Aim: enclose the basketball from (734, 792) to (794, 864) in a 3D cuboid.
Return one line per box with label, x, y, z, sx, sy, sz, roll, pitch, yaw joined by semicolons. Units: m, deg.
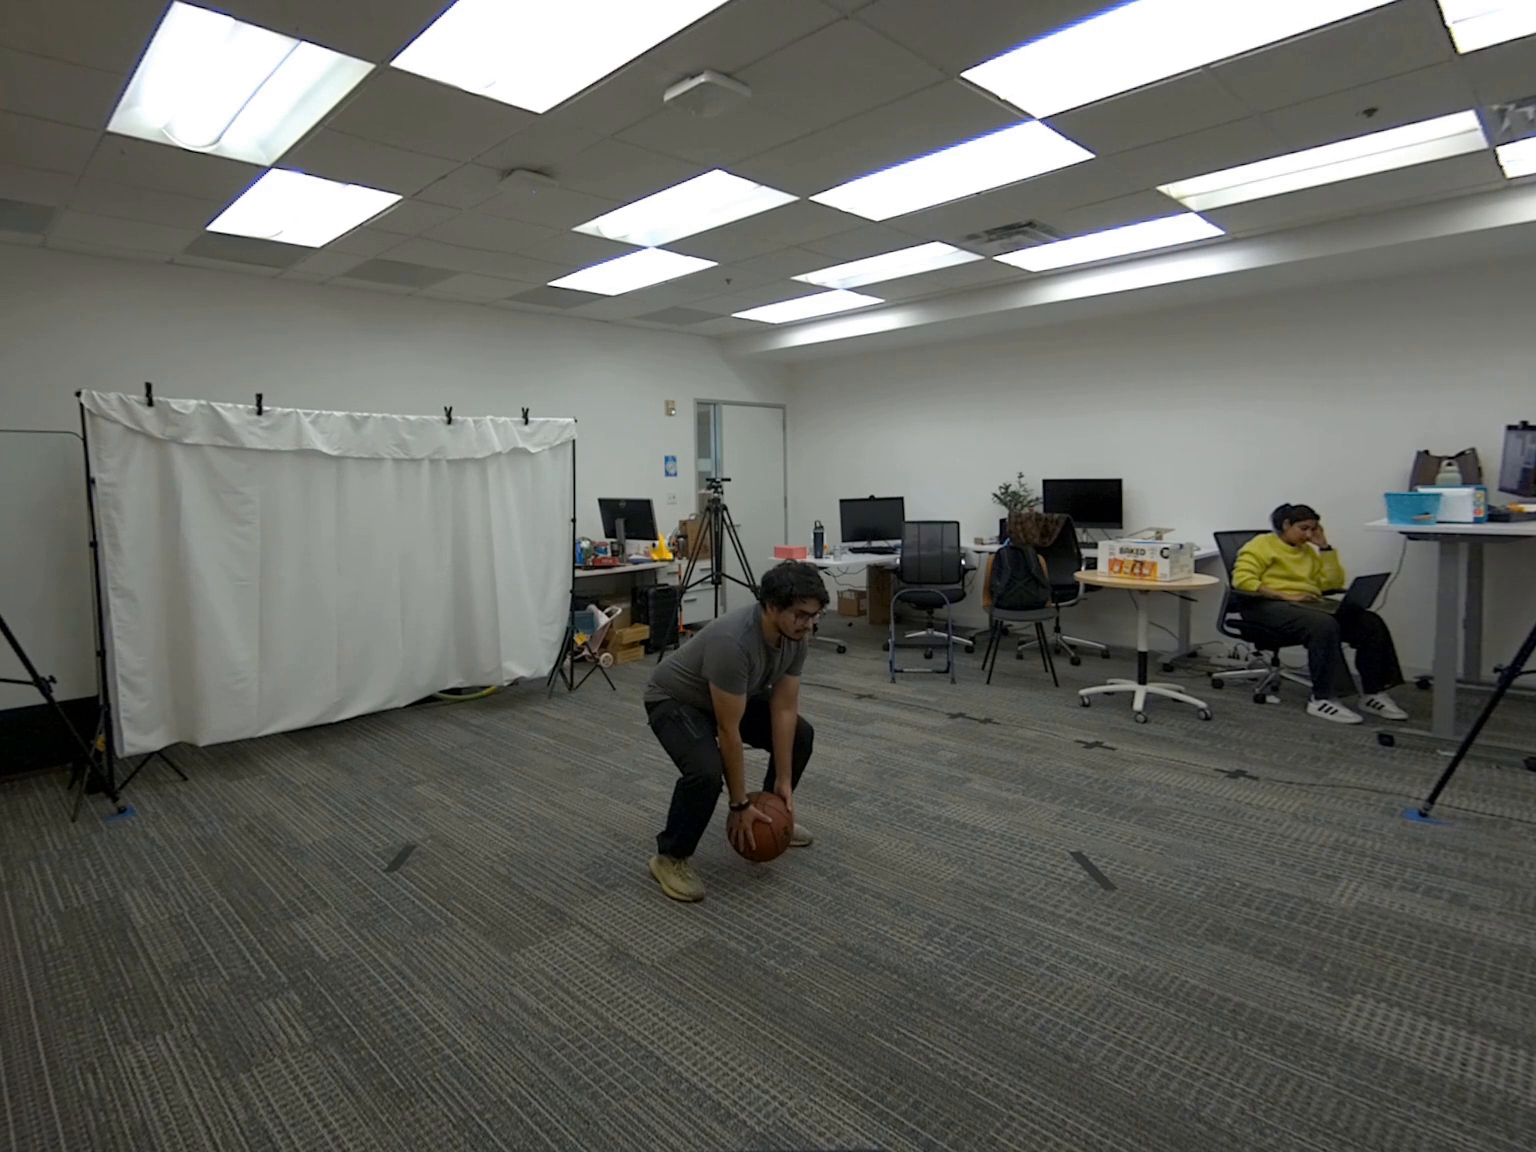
basketball;-0.026;0.871;3.019;0.236;0.235;0.237;-1;5;-2
